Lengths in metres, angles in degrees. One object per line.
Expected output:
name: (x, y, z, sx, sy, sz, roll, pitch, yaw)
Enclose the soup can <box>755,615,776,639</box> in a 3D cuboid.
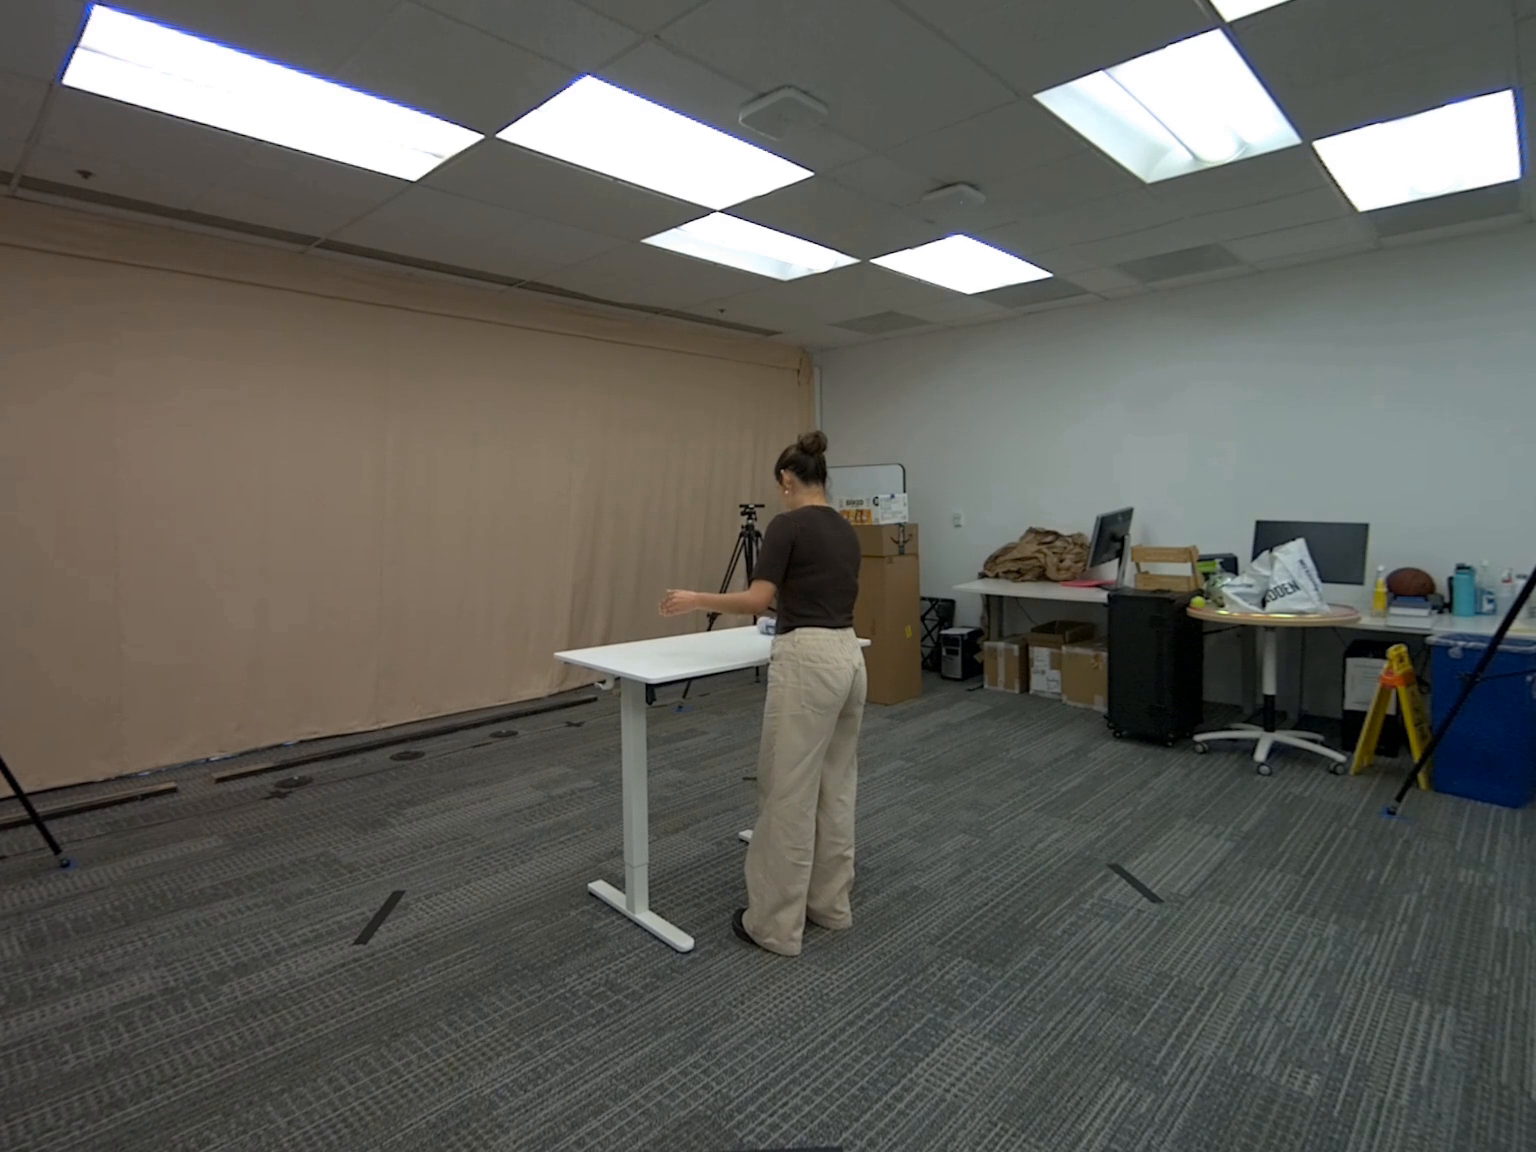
soup can: (0.023, 0.197, 3.308, 0.065, 0.067, 0.125, -4, 6, -42)
